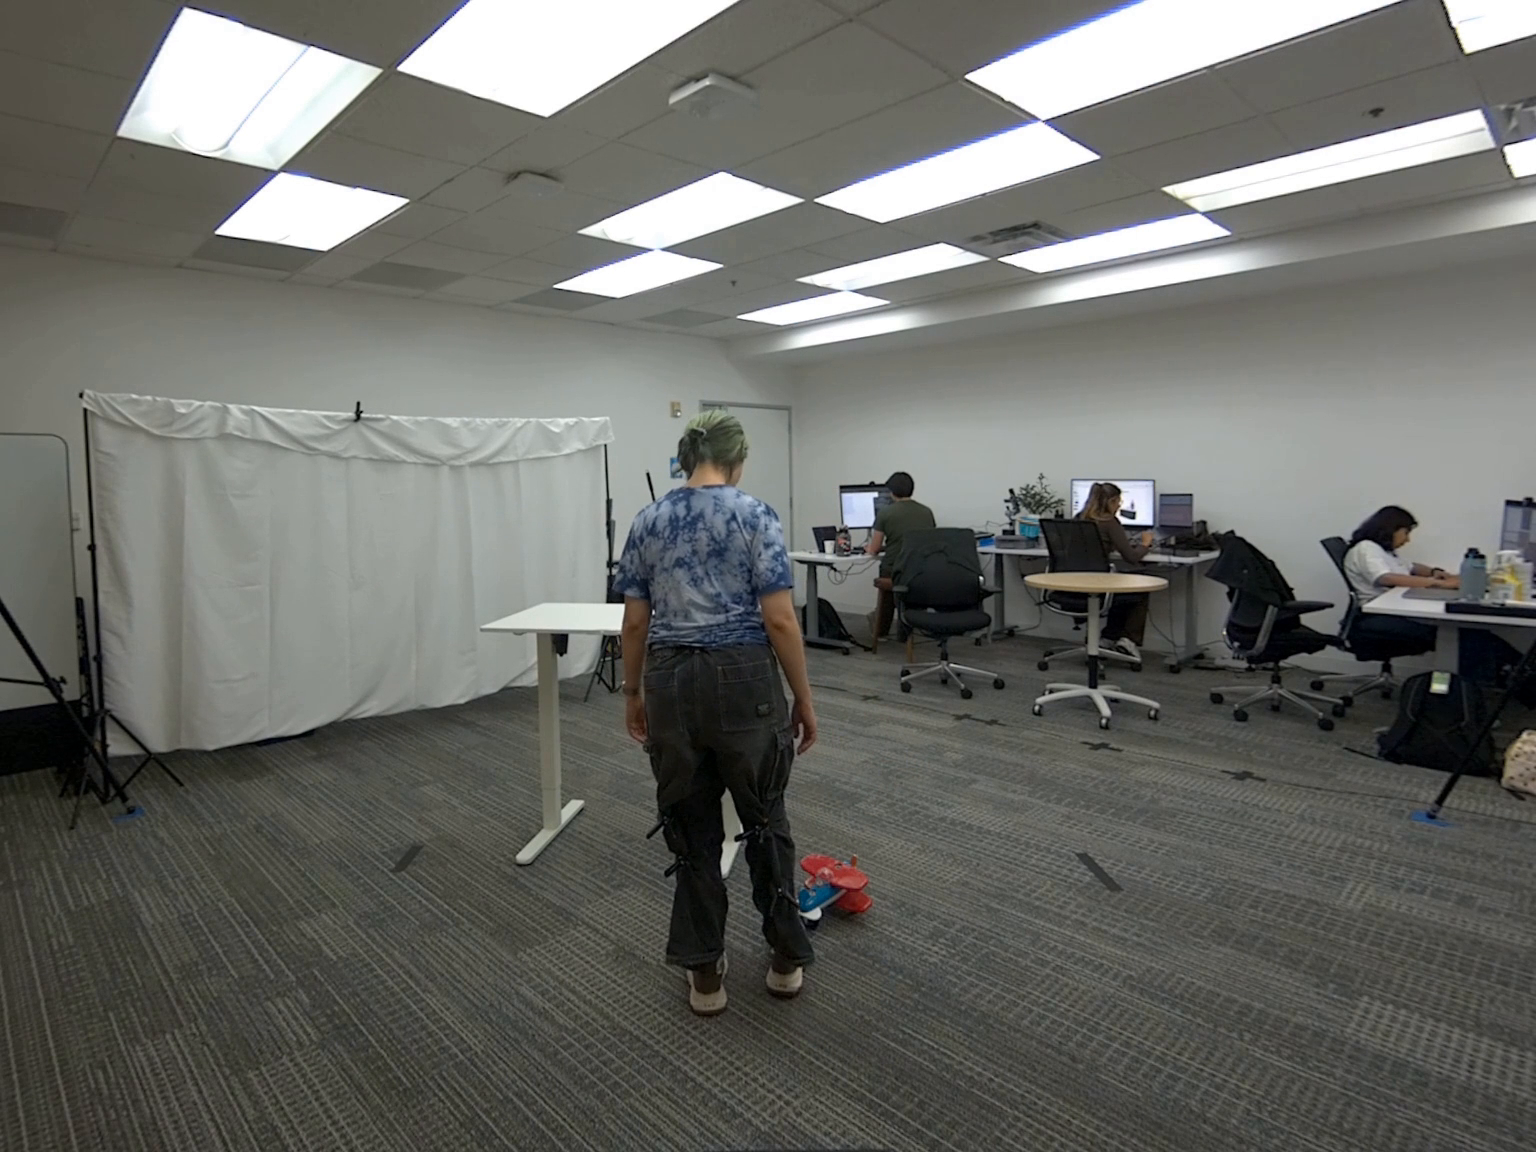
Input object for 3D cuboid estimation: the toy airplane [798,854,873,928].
[{"bbox_3d":[0.208,1.014,2.709,0.256,0.156,0.255,1,4,19],"label":"toy airplane"}]
